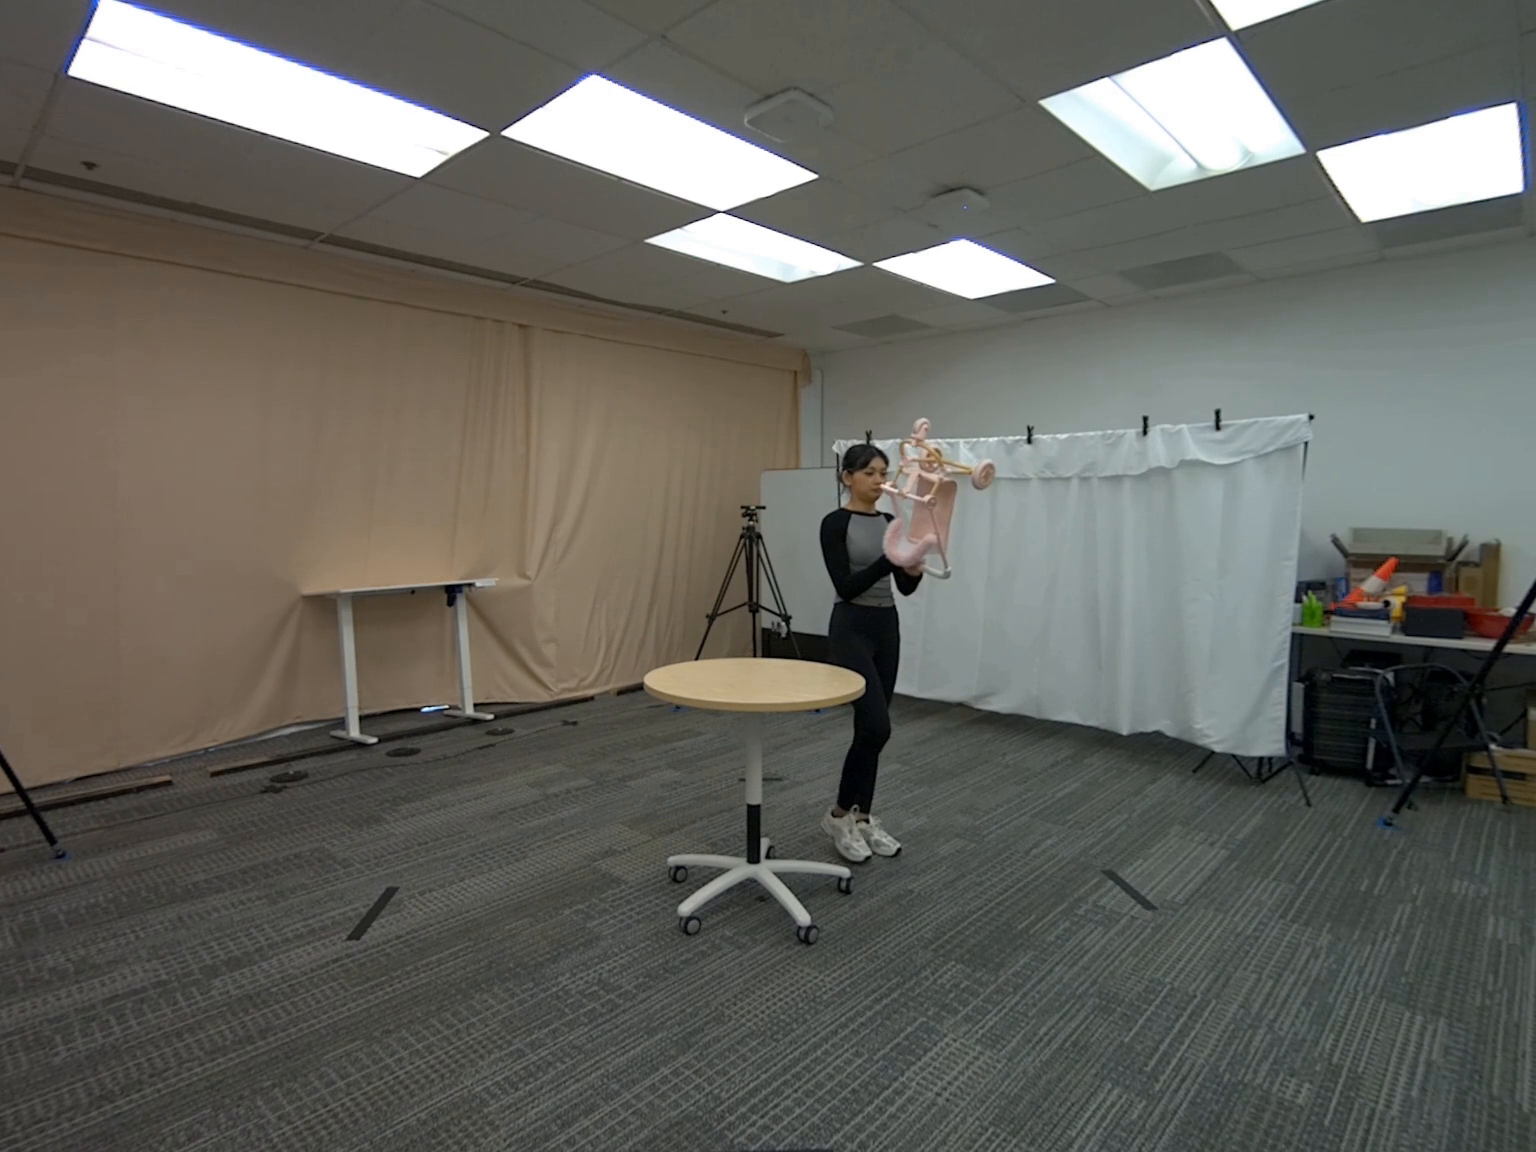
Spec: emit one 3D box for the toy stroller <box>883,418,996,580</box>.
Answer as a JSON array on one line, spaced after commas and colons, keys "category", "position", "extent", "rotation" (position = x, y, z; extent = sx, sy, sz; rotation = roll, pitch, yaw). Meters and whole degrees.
[{"category": "toy stroller", "position": [0.556, -0.261, 2.957], "extent": [0.329, 0.533, 0.292], "rotation": [9, 14, -44]}]
